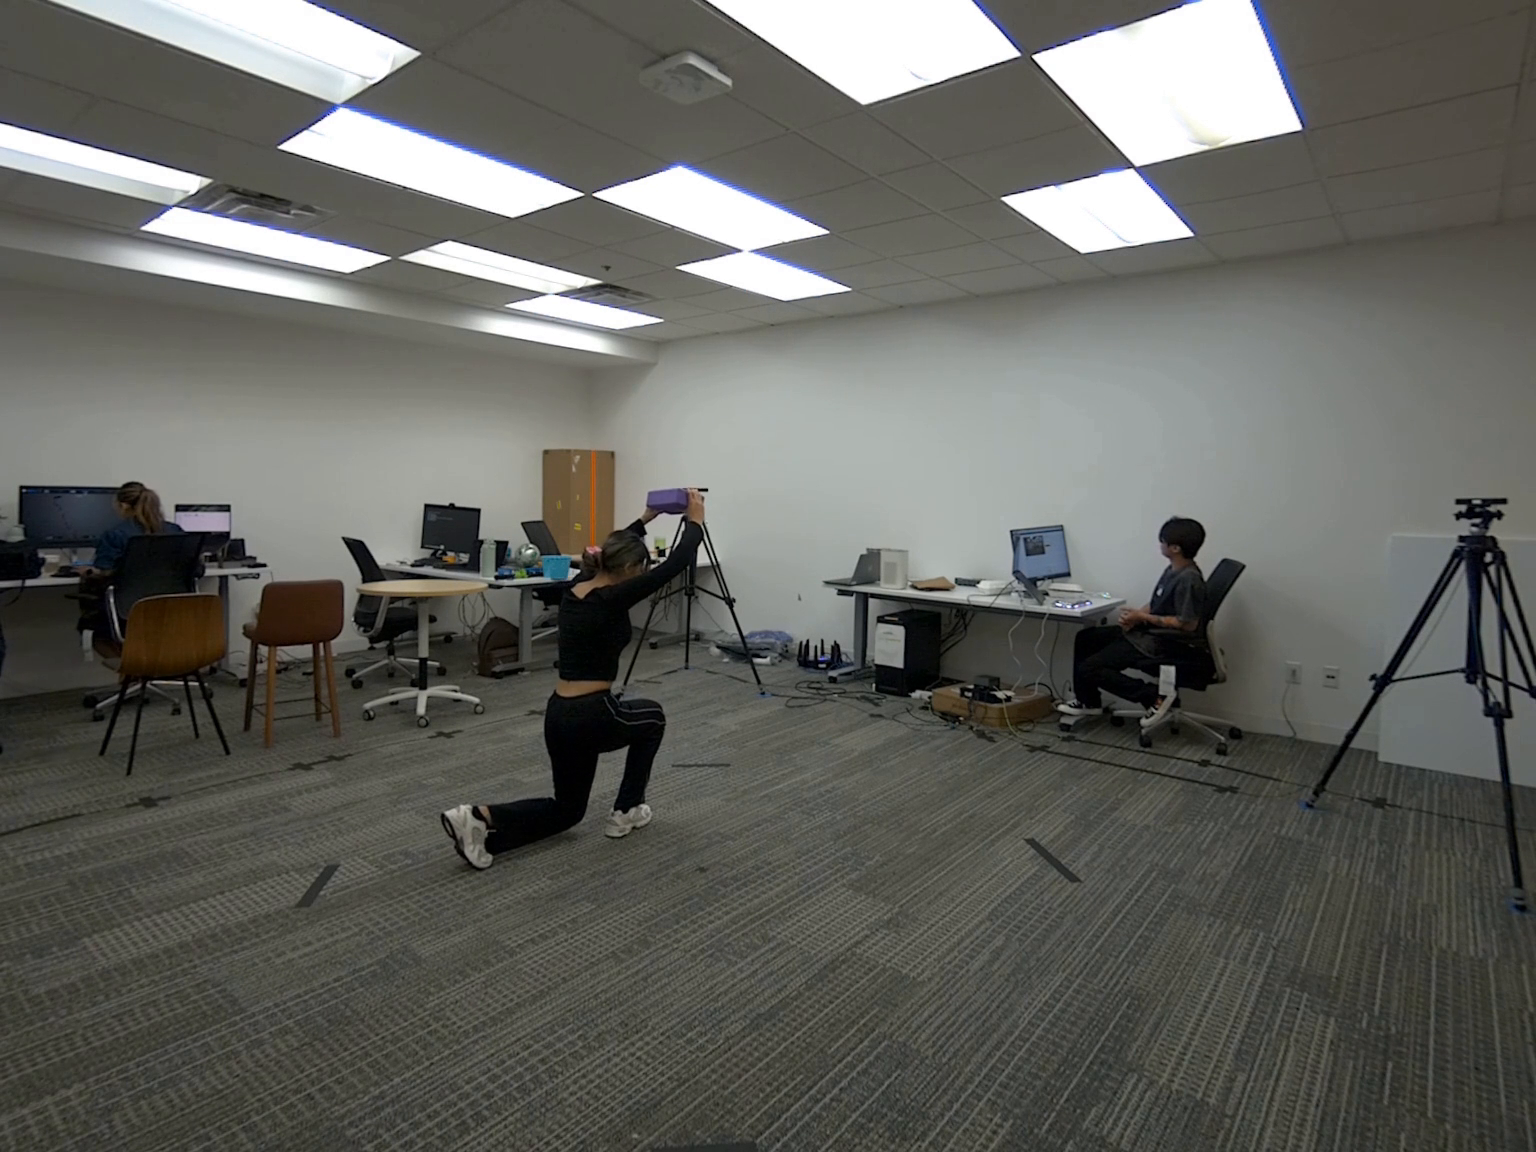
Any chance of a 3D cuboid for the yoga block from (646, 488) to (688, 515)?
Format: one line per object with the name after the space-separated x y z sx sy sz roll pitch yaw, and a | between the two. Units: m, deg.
-0.414 -0.327 3.657 0.143 0.077 0.236 18 -11 -40 | yoga block
